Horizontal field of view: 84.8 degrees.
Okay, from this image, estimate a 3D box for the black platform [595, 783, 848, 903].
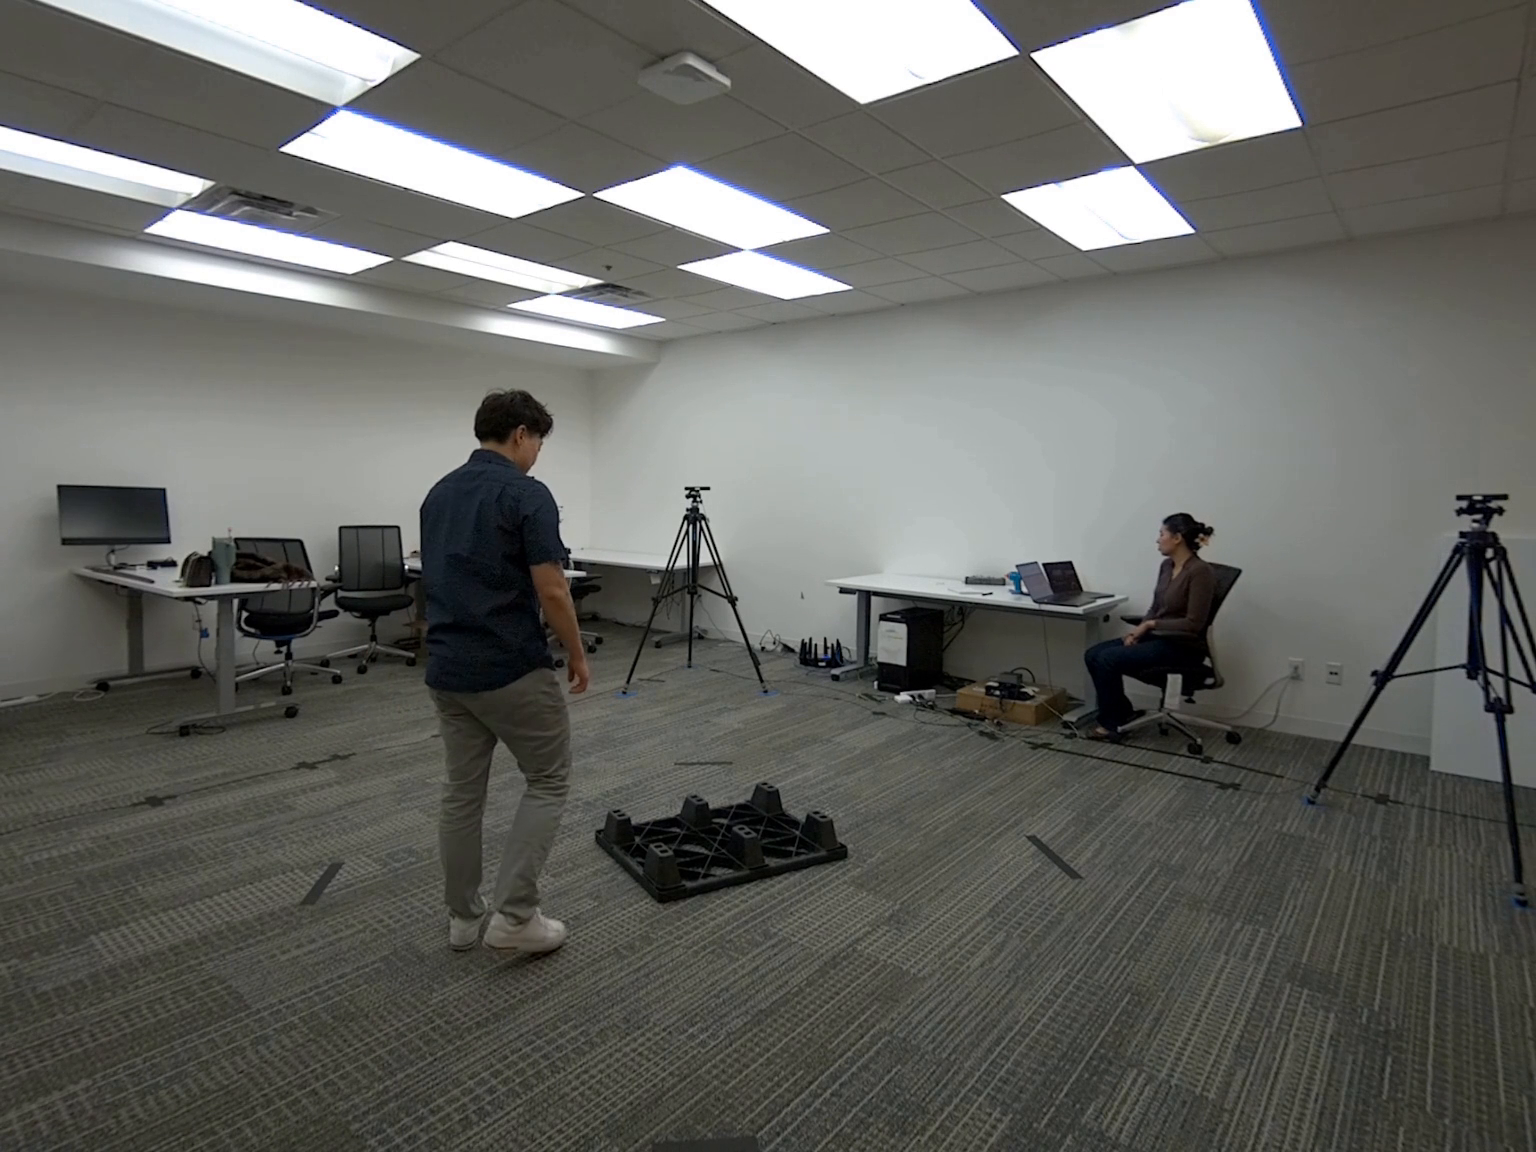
[{"bbox_3d":[-0.197,0.981,3.269,0.784,0.143,0.624,-3,6,-32],"label":"black platform"}]
